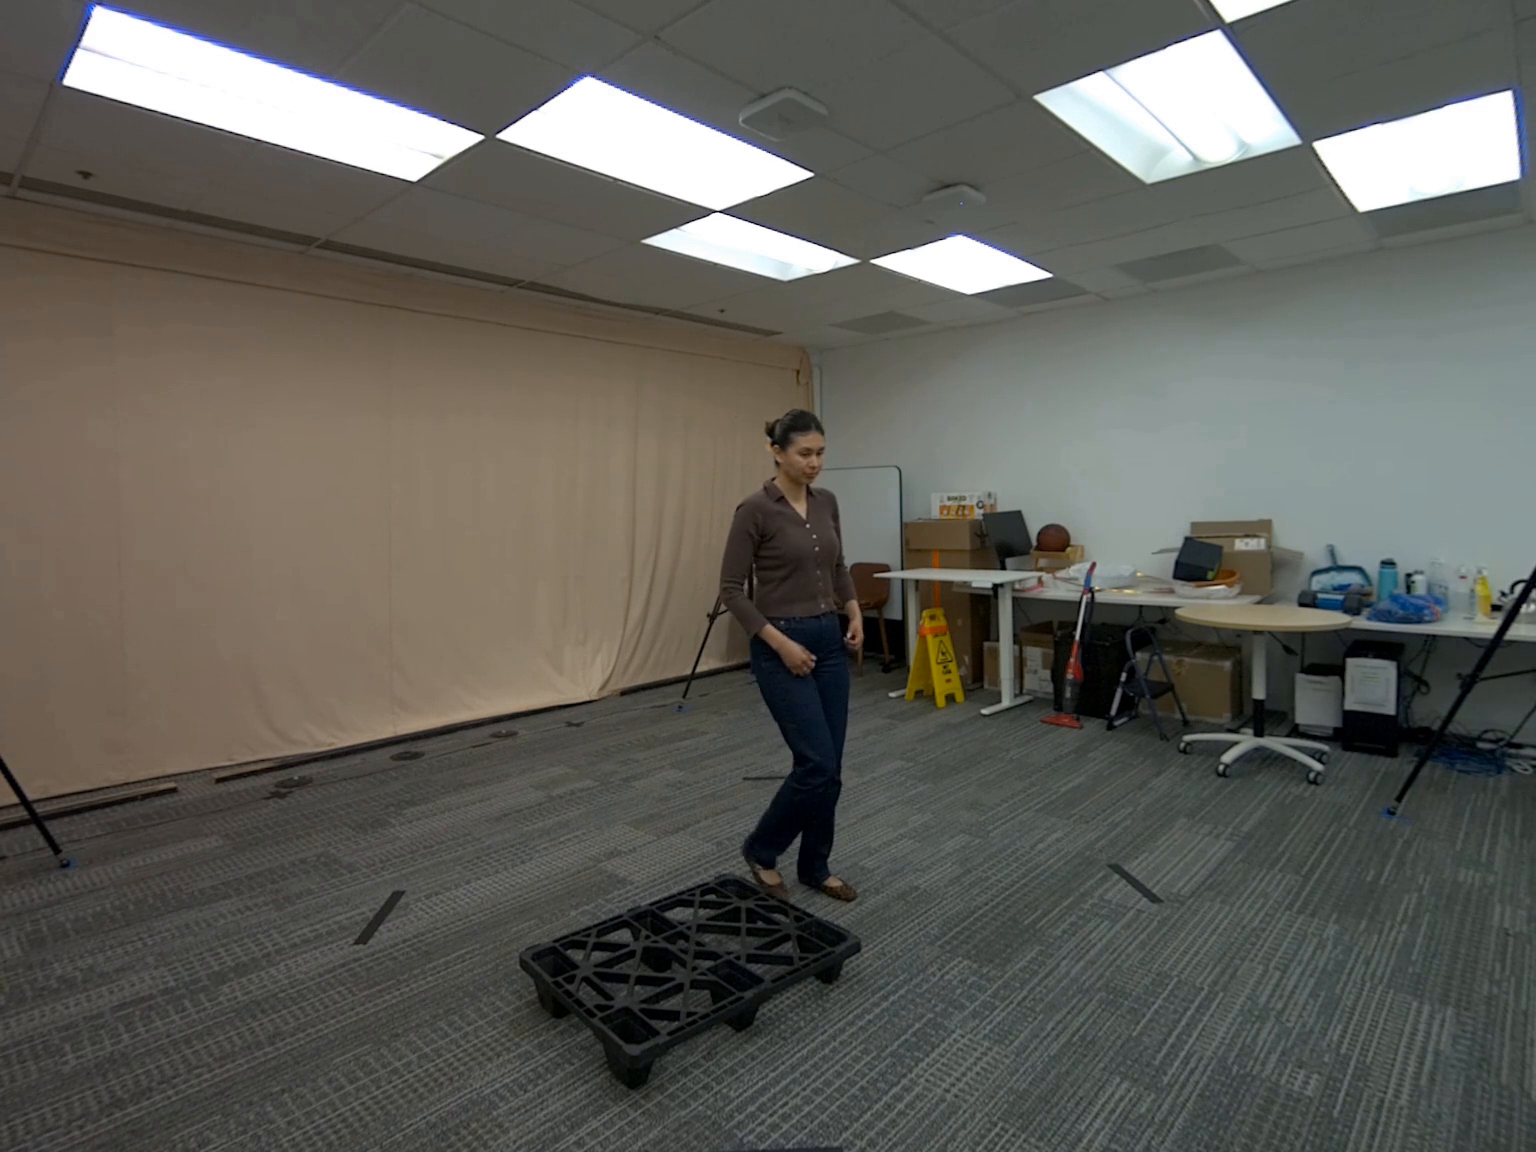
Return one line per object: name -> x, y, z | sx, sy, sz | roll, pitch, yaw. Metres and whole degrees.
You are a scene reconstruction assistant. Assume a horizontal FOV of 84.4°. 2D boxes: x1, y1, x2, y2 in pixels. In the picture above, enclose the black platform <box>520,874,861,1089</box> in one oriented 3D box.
black platform -> -0.223, 1.129, 2.411 | 0.781, 0.143, 0.625 | -5, 6, -40
